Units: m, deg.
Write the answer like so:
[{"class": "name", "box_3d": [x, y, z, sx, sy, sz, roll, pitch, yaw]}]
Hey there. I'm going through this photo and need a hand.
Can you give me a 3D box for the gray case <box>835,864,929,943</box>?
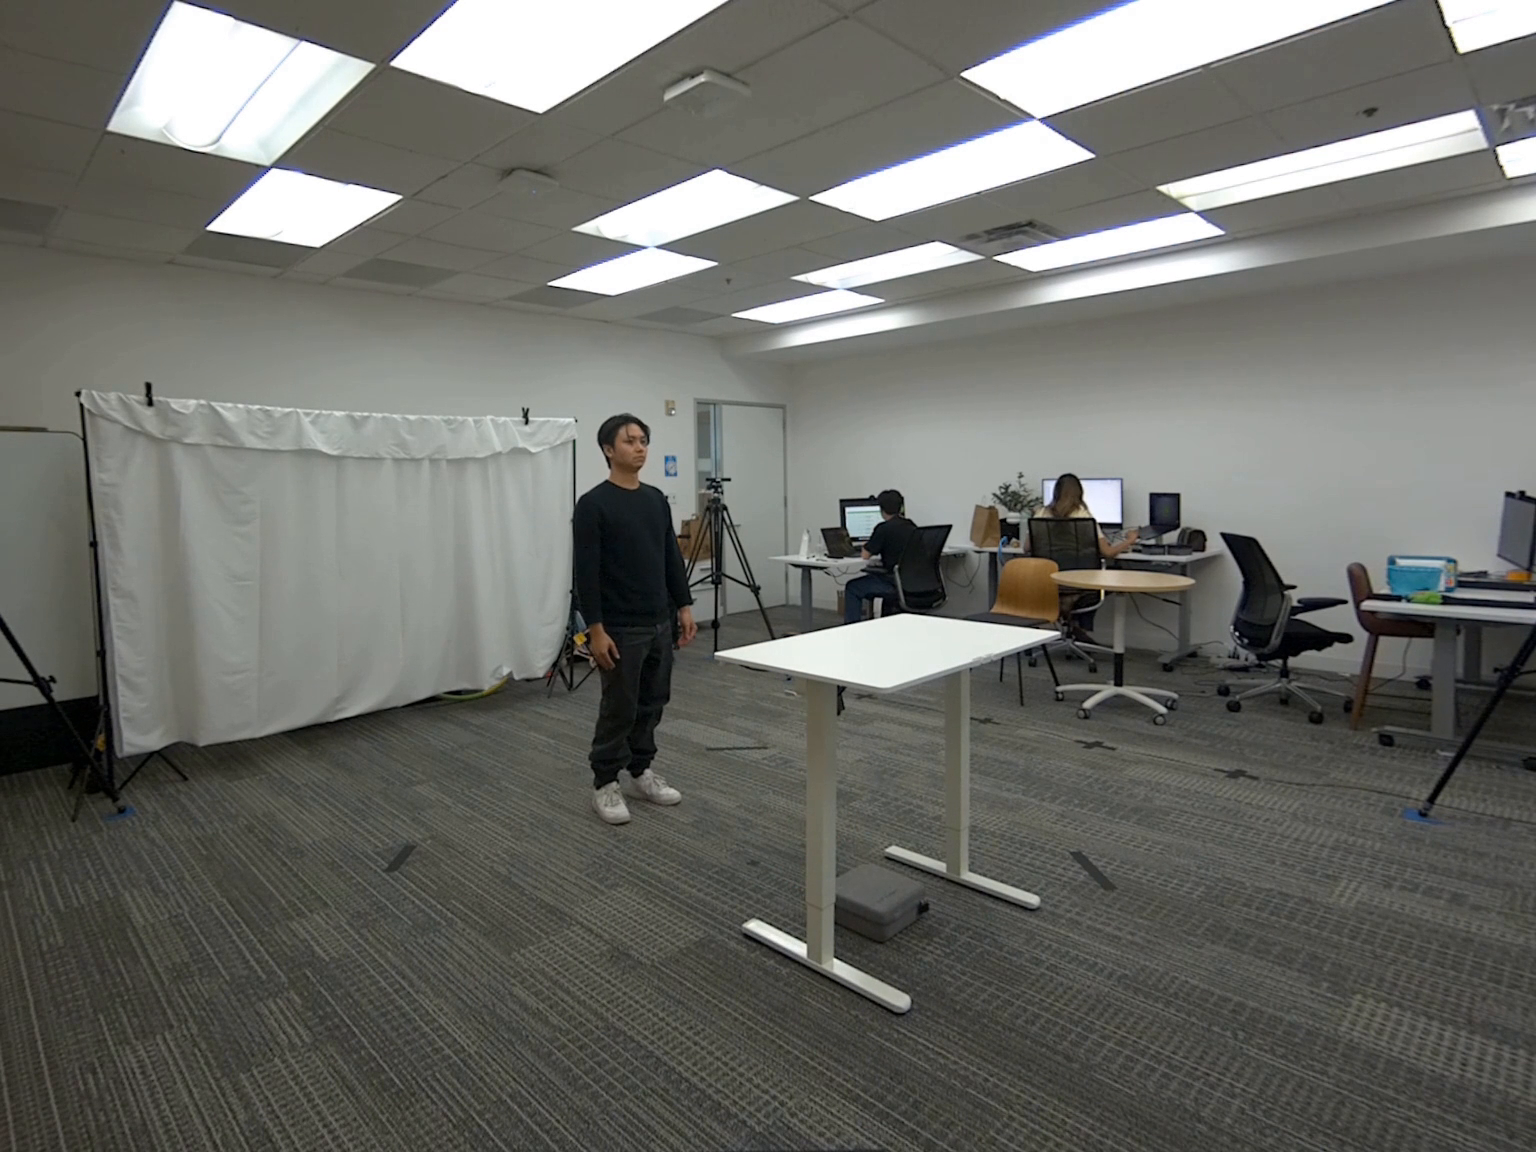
[{"class": "gray case", "box_3d": [0.335, 1.022, 2.702, 0.265, 0.104, 0.254, 5, 8, 44]}]
